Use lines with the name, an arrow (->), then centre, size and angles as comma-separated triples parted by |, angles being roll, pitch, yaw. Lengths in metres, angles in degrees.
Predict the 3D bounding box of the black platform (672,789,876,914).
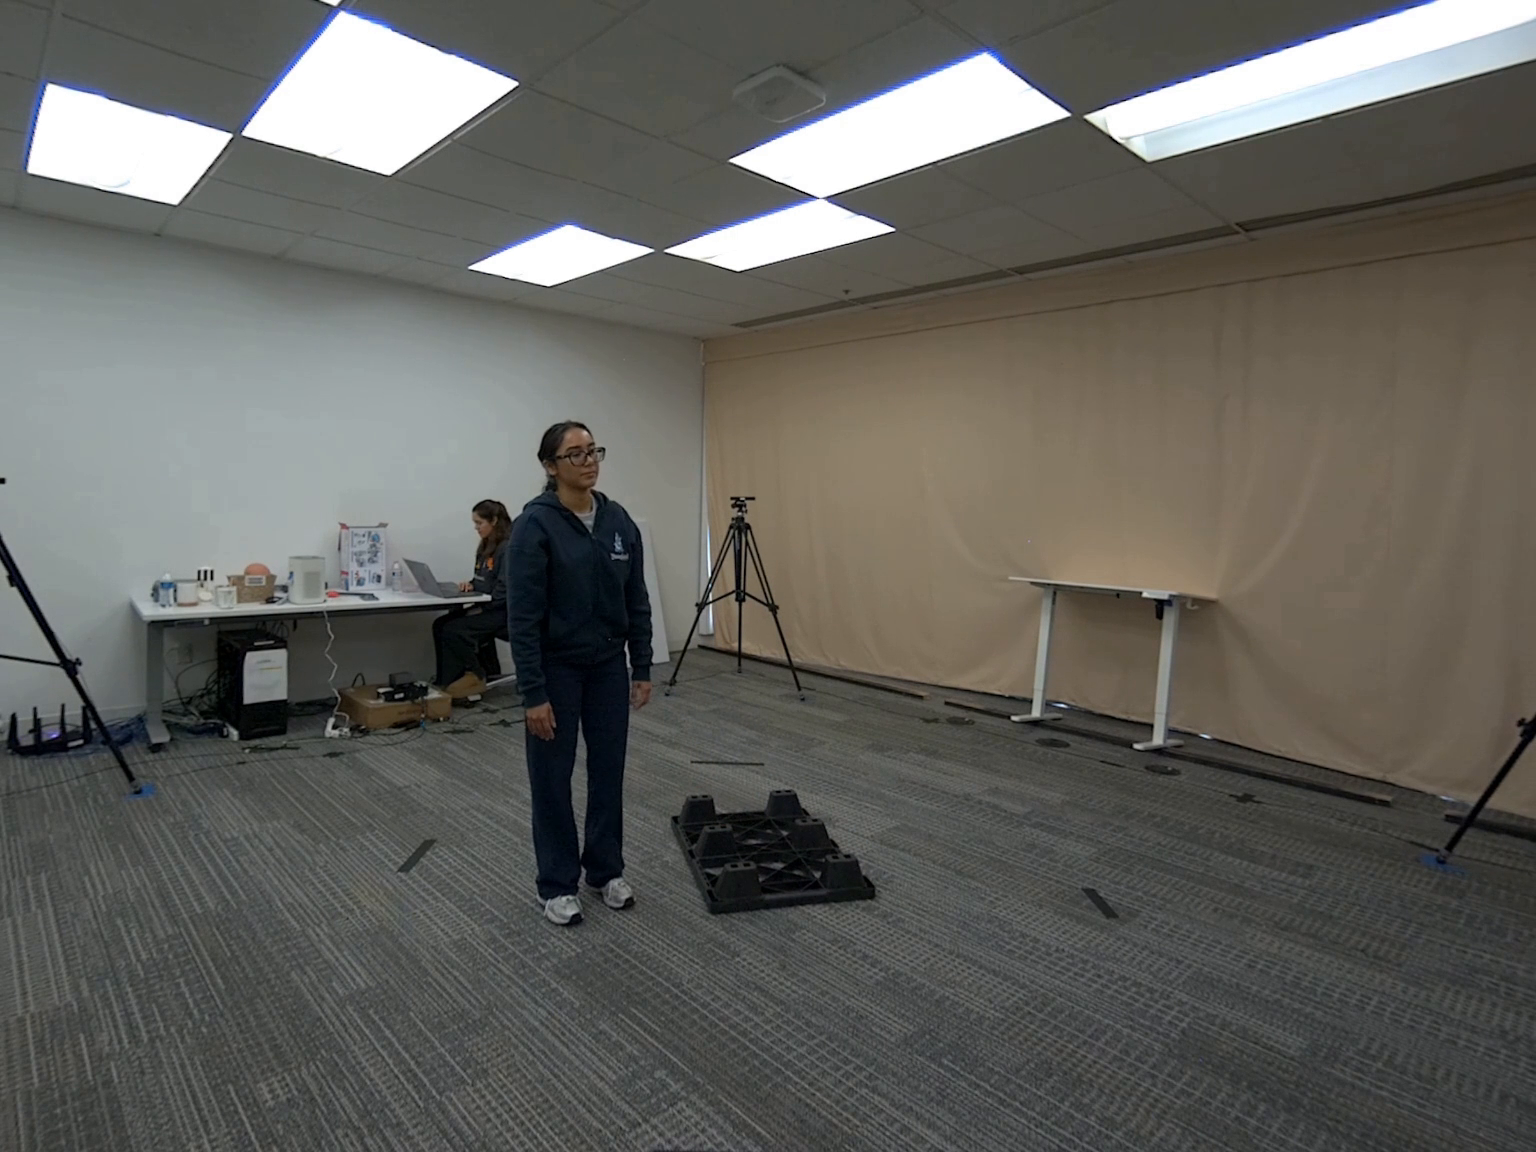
black platform -> -0.025, 1.024, 3.264 | 0.597, 0.143, 0.818 | 0, 5, -17
